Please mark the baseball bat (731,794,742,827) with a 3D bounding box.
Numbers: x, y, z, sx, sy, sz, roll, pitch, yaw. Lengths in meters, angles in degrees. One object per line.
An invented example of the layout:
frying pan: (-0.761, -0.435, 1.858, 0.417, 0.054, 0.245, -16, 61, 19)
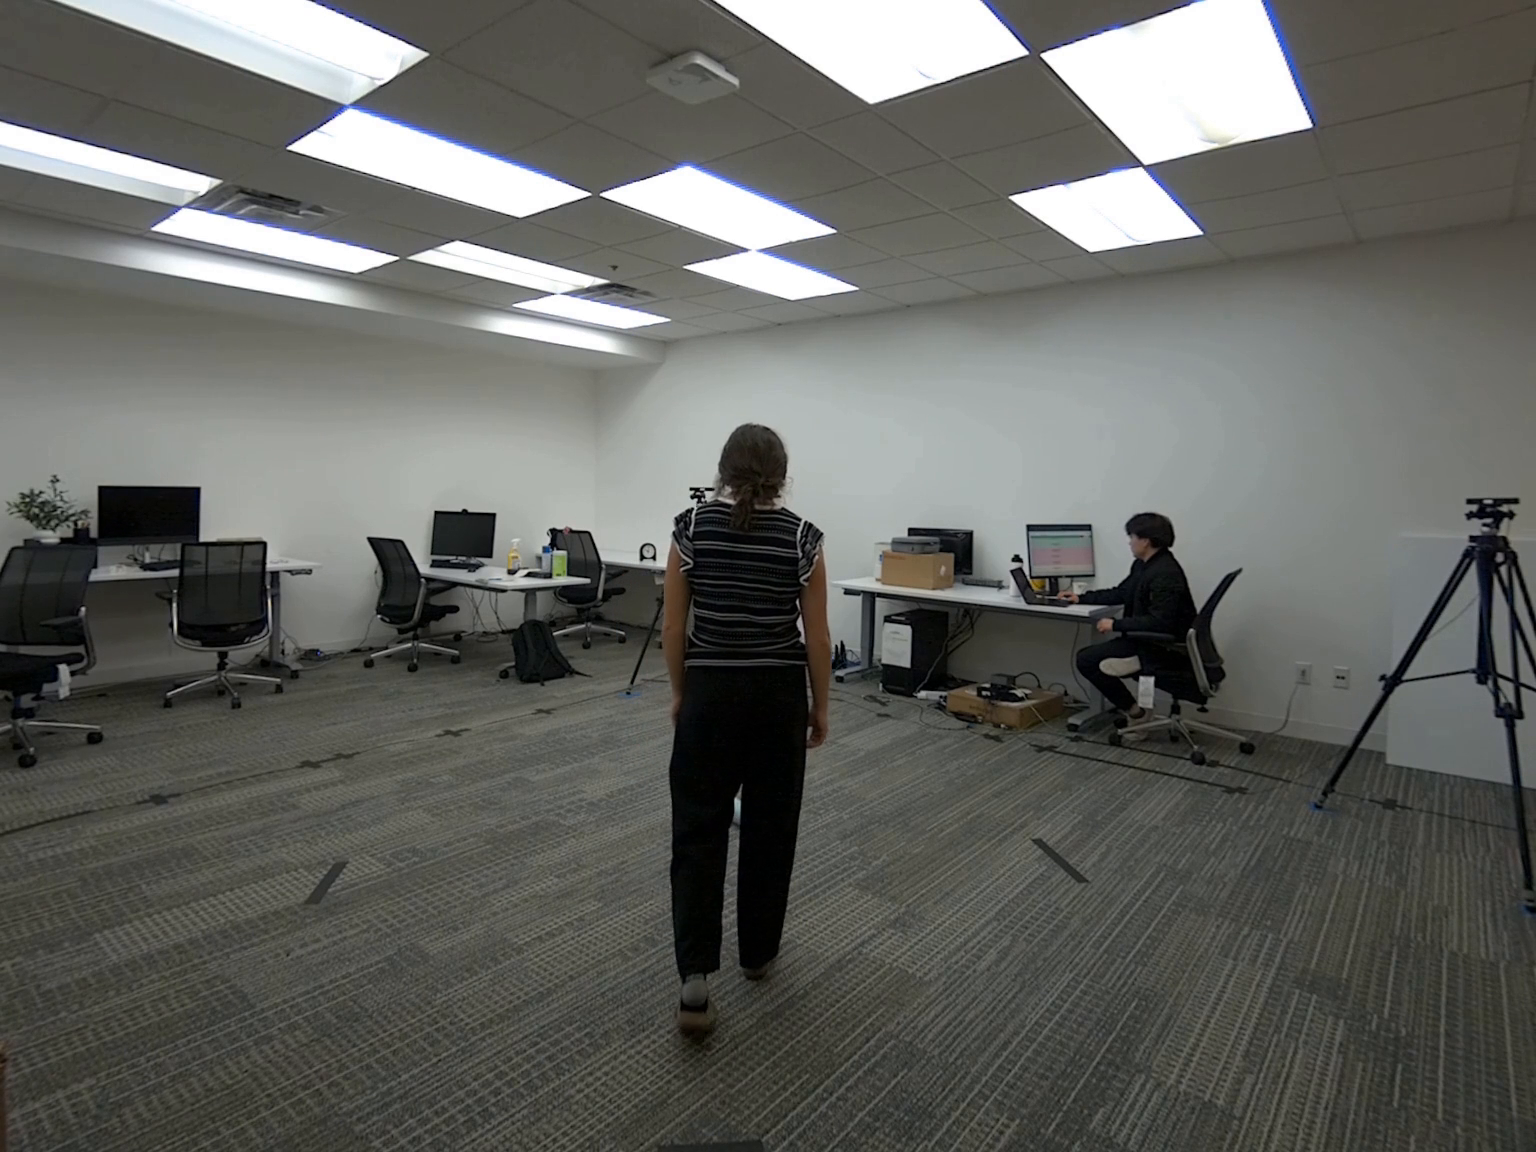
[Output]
baseball bat: (-0.075, 0.995, 3.459, 0.086, 0.088, 0.561, -2, 9, -32)
